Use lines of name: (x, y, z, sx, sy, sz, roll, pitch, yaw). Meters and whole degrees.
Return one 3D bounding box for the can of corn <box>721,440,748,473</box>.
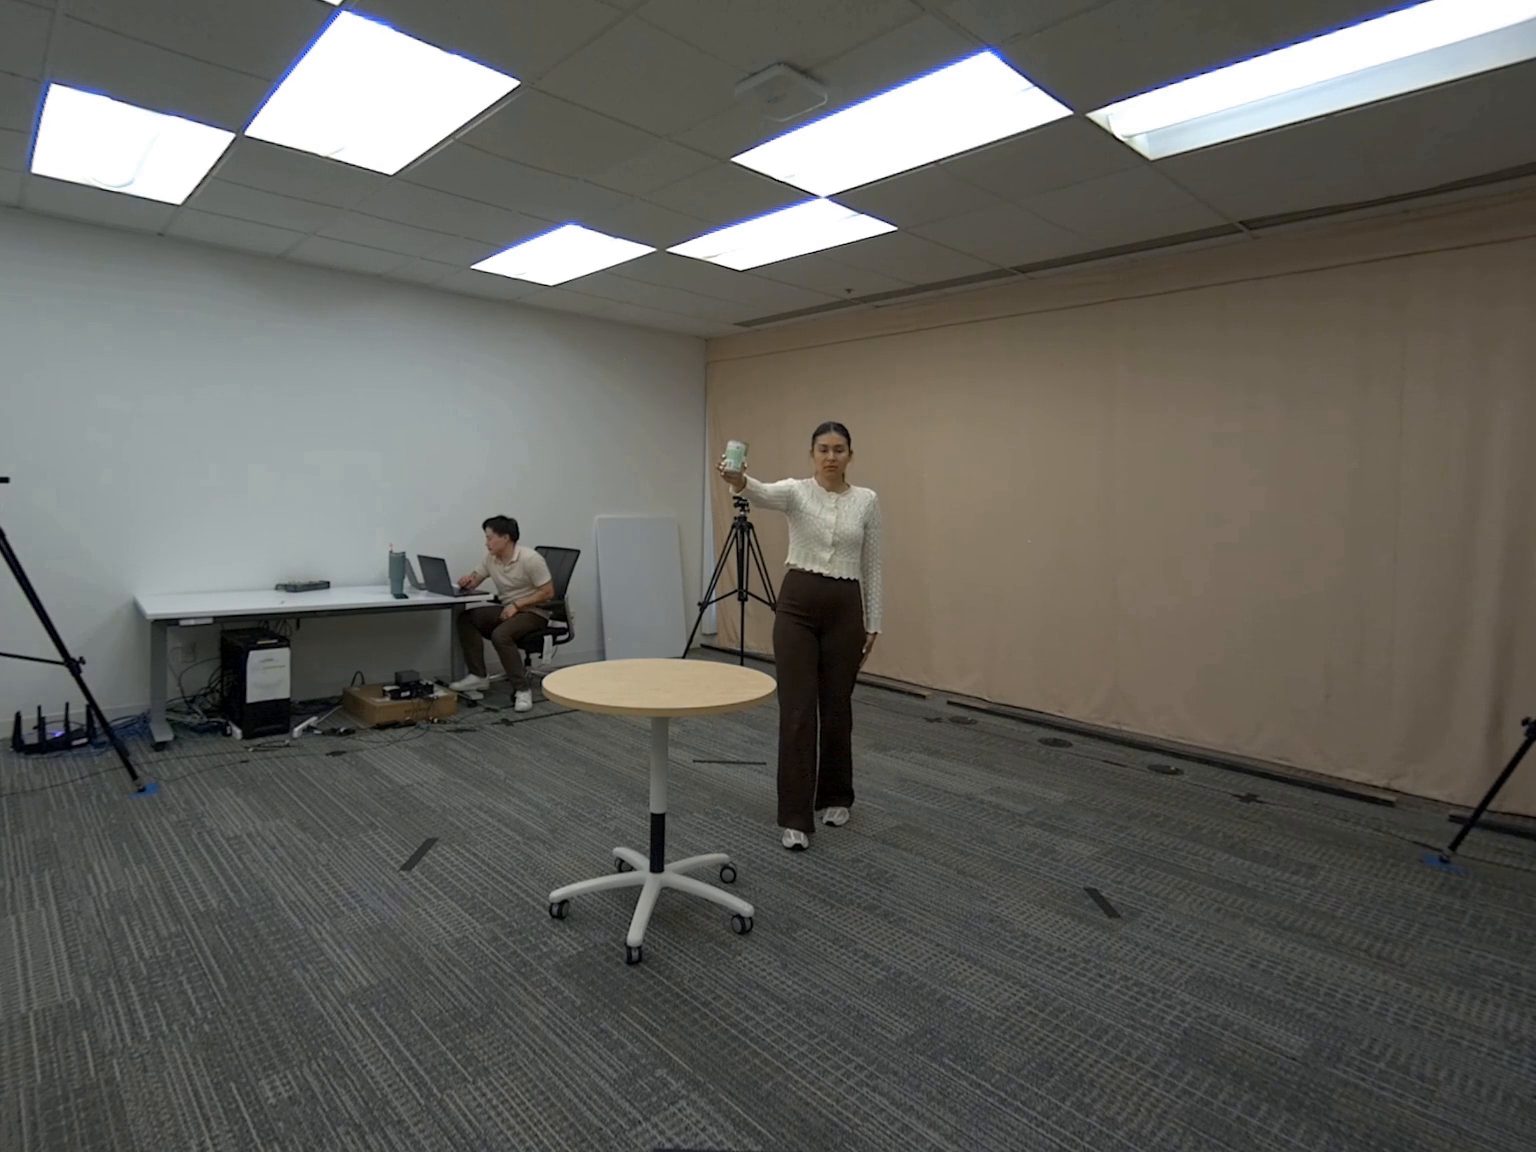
can of corn: (-0.114, -0.408, 2.929, 0.074, 0.111, 0.074, 11, -6, 0)
